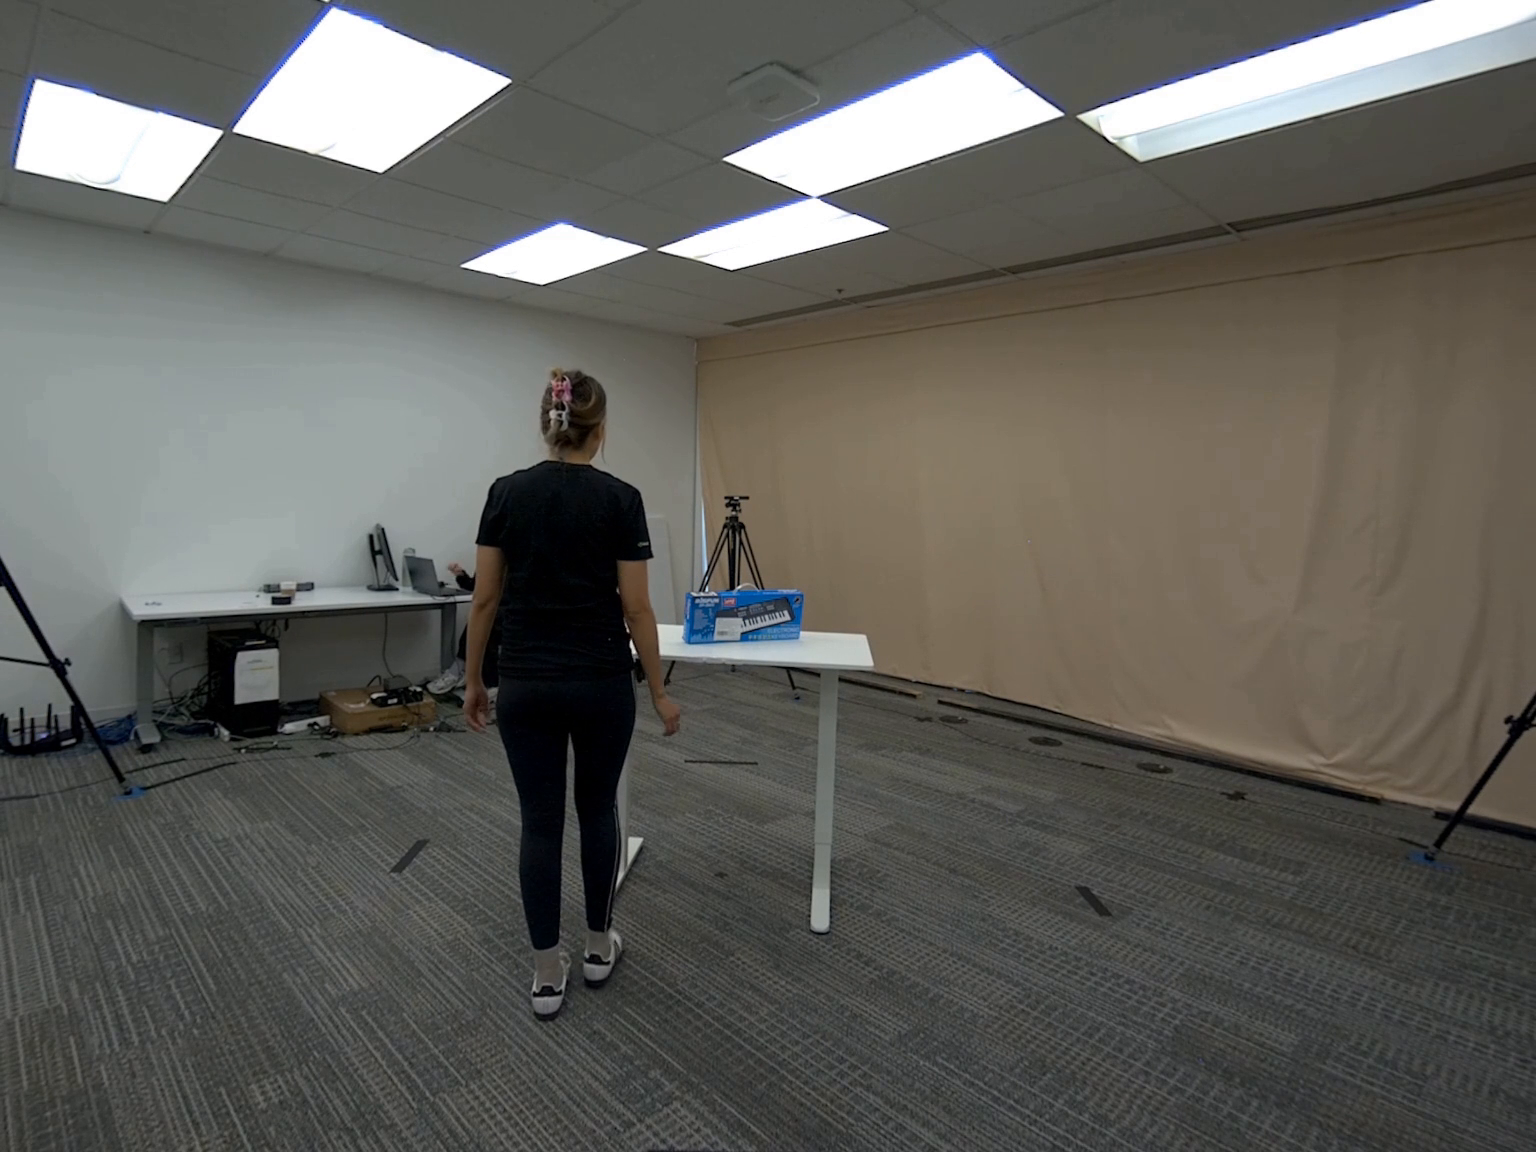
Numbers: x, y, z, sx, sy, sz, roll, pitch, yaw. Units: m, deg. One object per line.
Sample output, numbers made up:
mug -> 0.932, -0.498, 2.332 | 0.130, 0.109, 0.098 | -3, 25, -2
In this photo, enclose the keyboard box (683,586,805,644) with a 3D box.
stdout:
keyboard box -> -0.091, 0.145, 2.988 | 0.429, 0.175, 0.060 | -1, 11, -25
